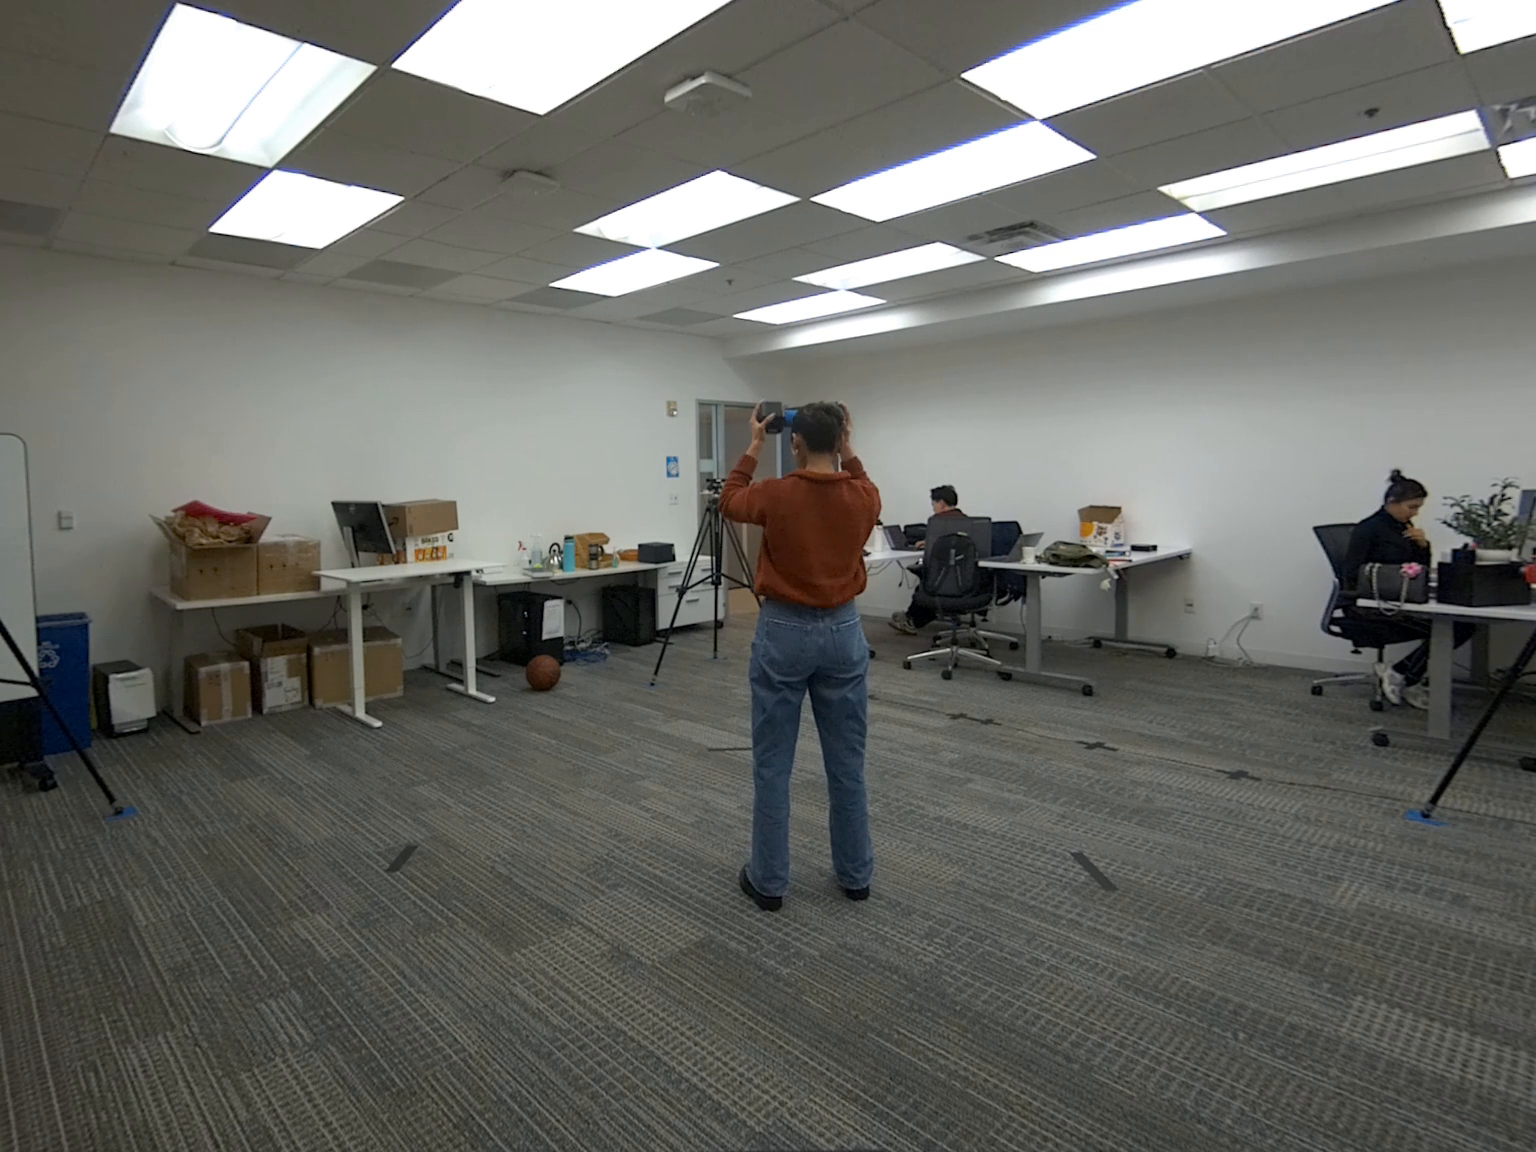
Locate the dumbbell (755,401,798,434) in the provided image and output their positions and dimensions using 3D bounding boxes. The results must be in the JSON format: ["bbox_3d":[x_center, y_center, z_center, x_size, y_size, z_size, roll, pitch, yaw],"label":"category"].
[{"bbox_3d":[0.122,-0.553,2.965,0.291,0.120,0.112,0,36,-8],"label":"dumbbell"}]
